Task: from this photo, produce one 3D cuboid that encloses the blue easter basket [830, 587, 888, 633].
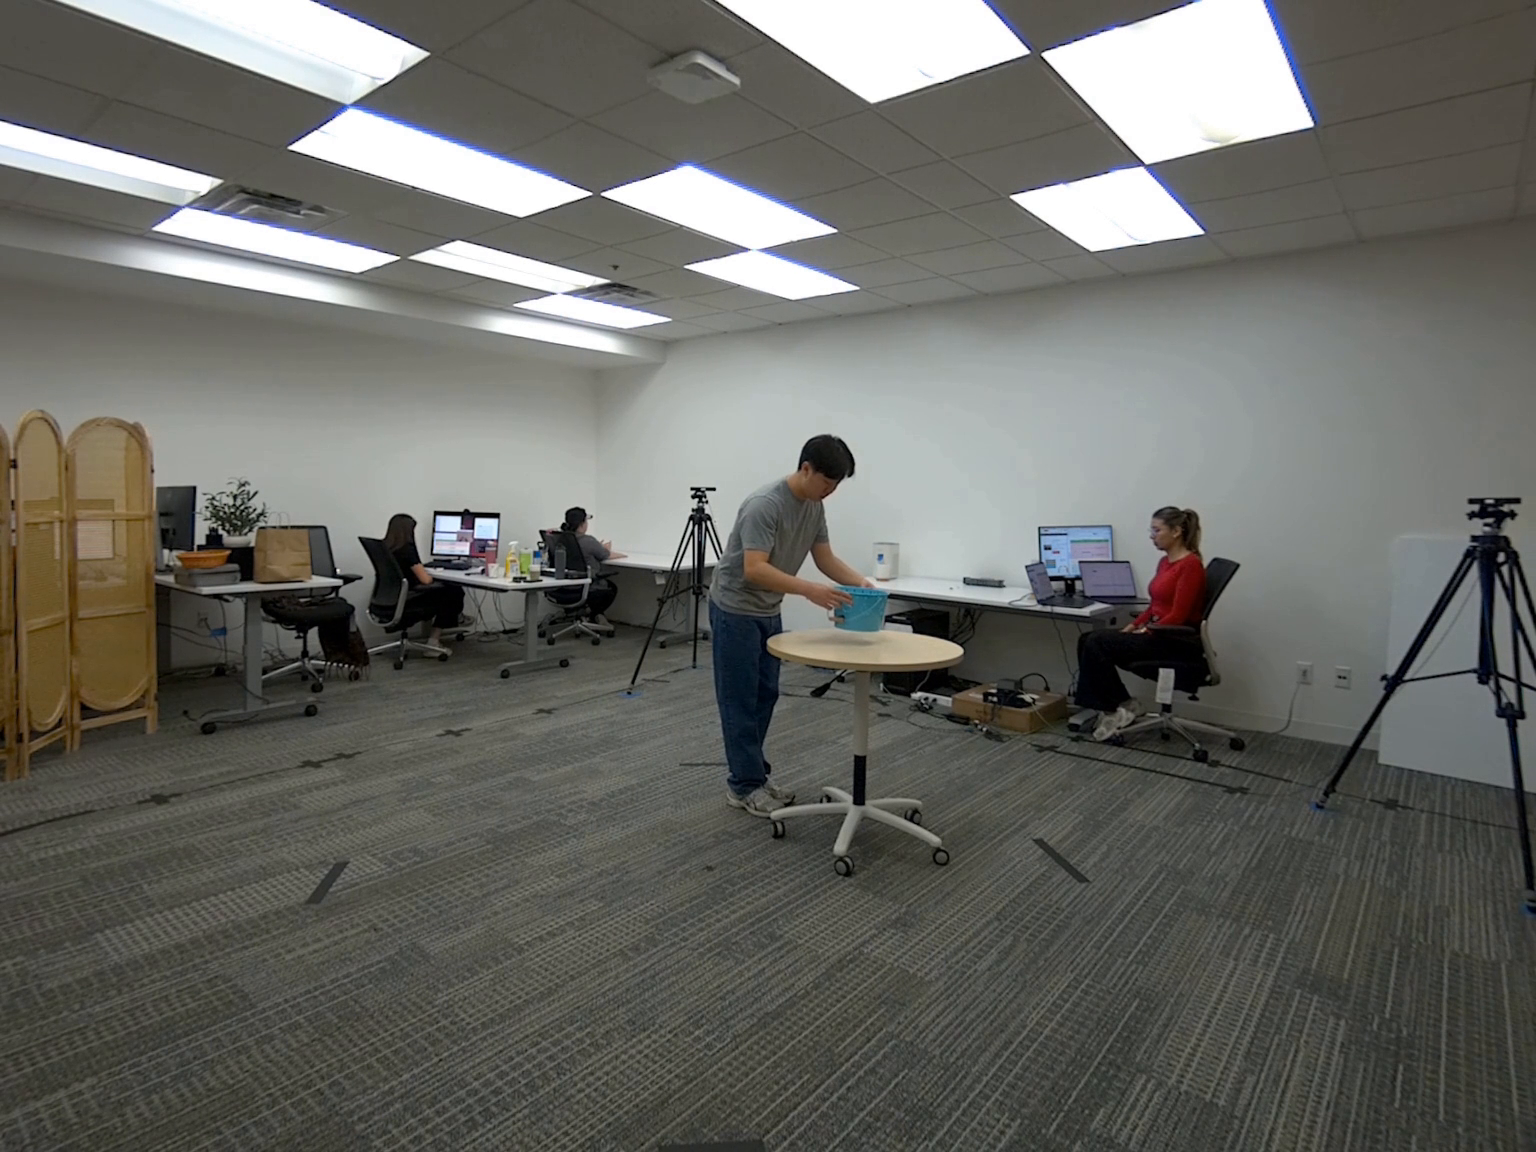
[{"bbox_3d":[0.359,0.134,3.416,0.243,0.156,0.244,4,2,-2],"label":"blue easter basket"}]
